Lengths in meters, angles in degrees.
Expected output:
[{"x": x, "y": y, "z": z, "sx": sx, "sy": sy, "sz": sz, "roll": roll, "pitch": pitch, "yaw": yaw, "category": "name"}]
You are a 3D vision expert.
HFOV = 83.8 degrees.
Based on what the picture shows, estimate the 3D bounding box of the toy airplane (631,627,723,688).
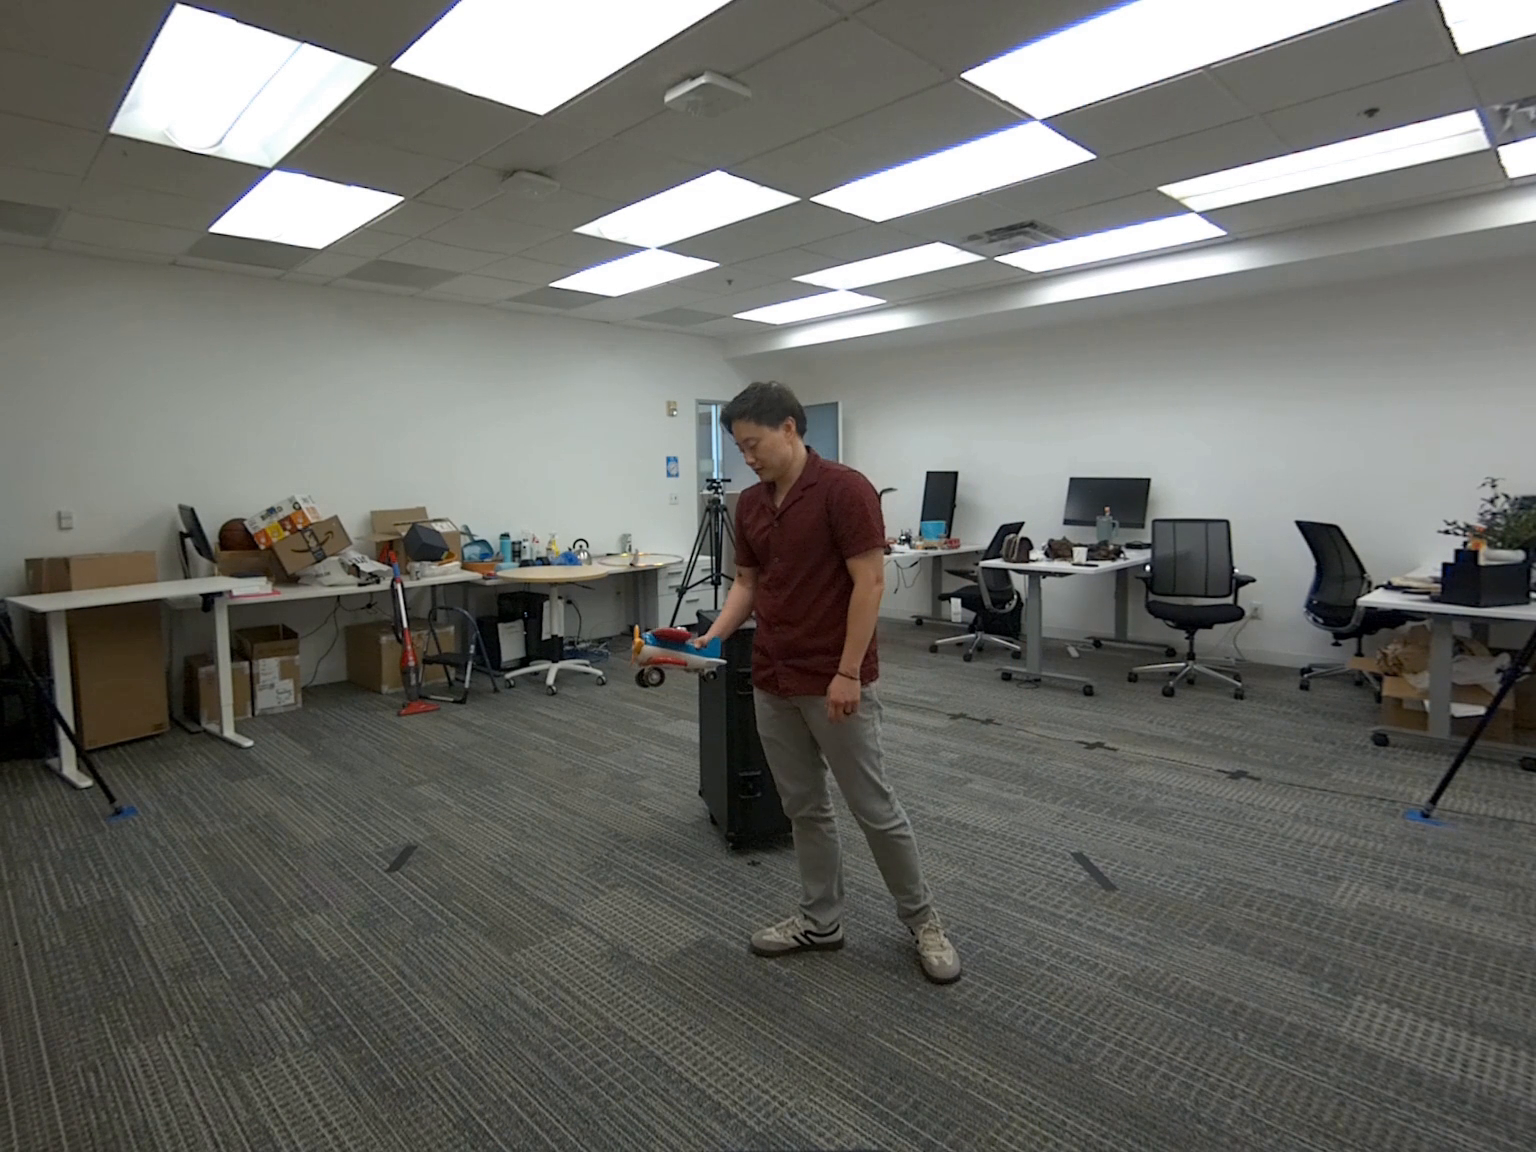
[{"x": -0.253, "y": 0.231, "z": 2.385, "sx": 0.257, "sy": 0.158, "sz": 0.251, "roll": -11, "pitch": -10, "yaw": 39, "category": "toy airplane"}]
